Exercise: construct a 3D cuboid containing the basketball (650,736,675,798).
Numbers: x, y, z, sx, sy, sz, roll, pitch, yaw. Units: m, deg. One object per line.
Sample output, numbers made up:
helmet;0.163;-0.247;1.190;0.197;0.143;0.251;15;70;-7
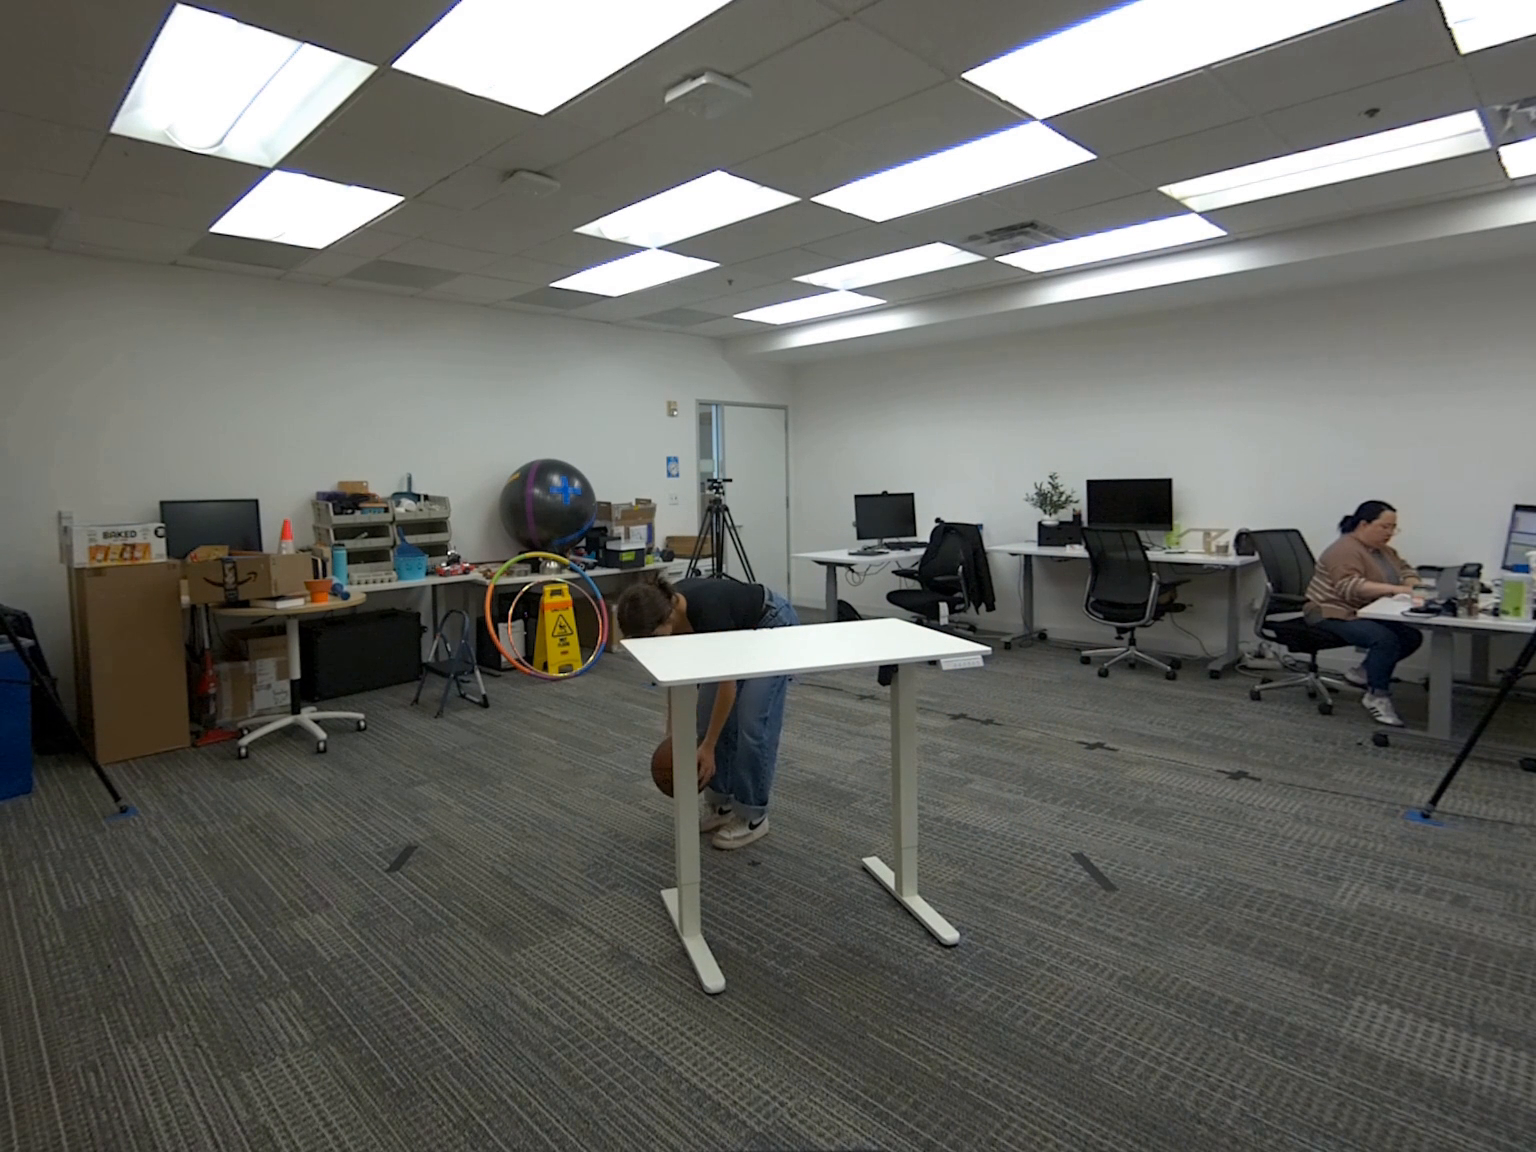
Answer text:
basketball;-0.318;0.733;3.260;0.236;0.235;0.237;-1;5;-2
